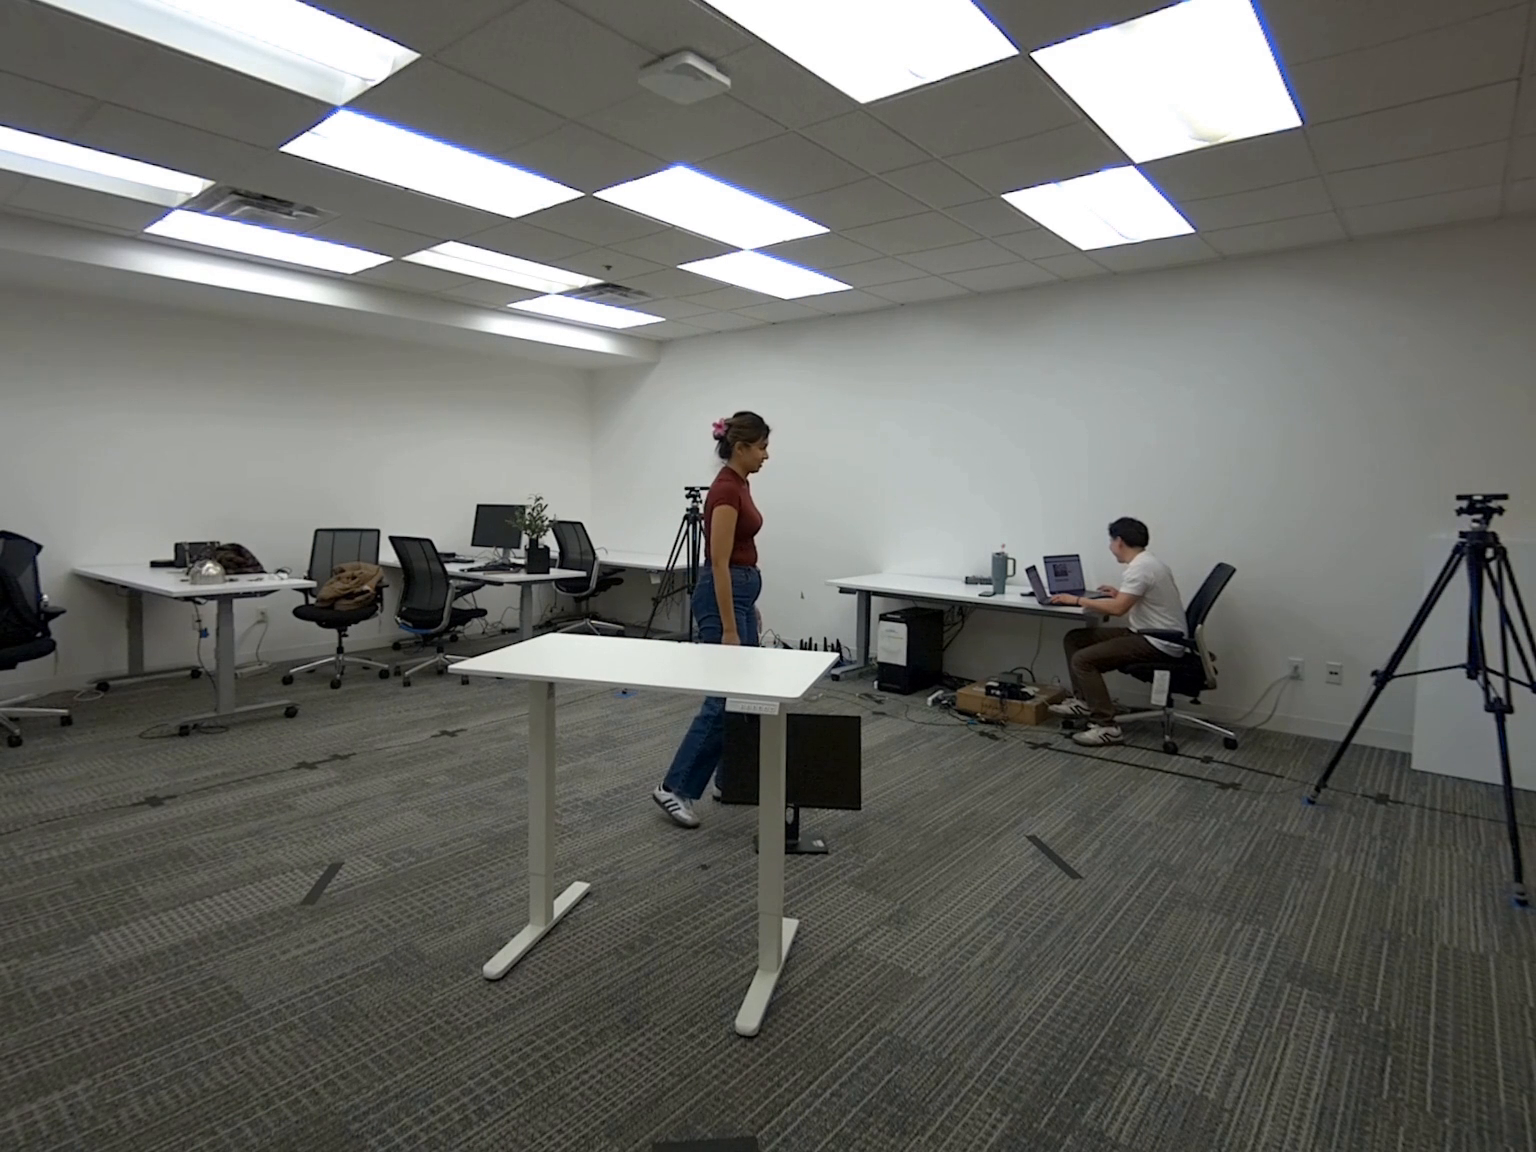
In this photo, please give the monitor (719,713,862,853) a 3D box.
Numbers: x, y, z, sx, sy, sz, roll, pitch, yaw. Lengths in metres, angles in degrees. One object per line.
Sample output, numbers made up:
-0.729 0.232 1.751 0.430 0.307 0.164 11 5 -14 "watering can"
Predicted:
0.085 0.797 3.326 0.540 0.522 0.186 1 0 2 "monitor"
